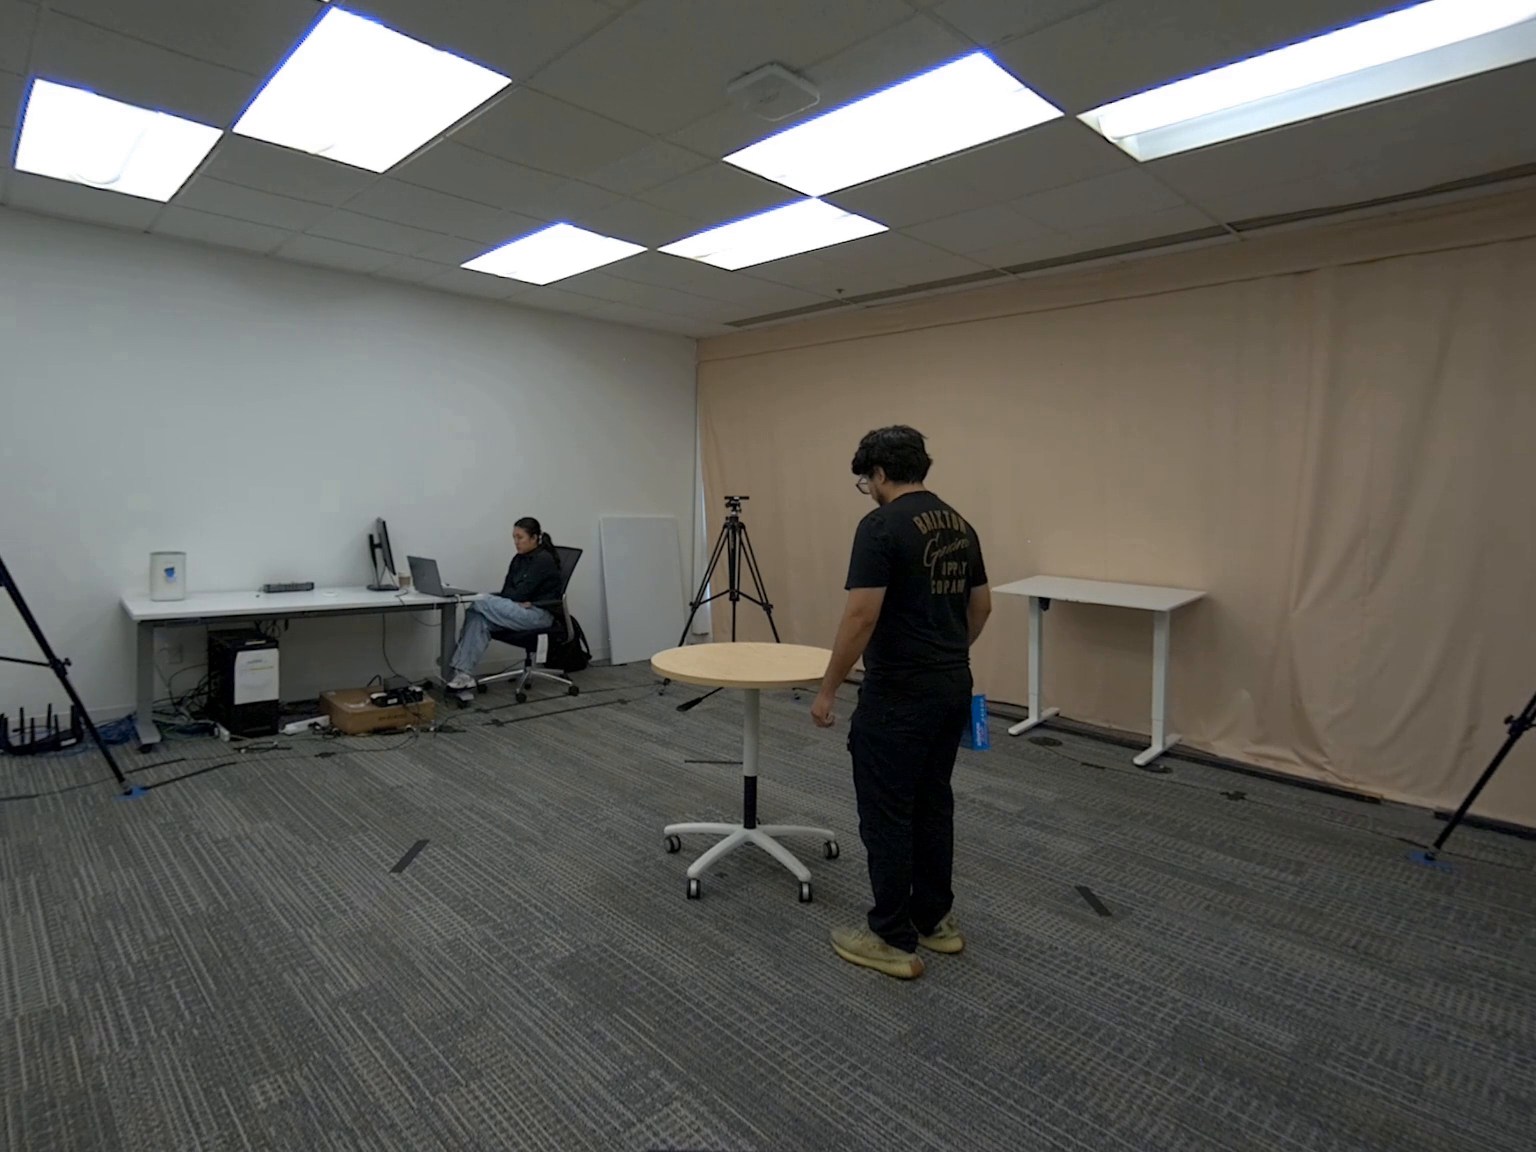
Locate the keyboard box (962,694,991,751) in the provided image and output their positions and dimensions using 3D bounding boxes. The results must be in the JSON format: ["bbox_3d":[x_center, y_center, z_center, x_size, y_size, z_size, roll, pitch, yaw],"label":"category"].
[{"bbox_3d":[0.585,0.475,2.871,0.058,0.176,0.442,0,-2,-21],"label":"keyboard box"}]
